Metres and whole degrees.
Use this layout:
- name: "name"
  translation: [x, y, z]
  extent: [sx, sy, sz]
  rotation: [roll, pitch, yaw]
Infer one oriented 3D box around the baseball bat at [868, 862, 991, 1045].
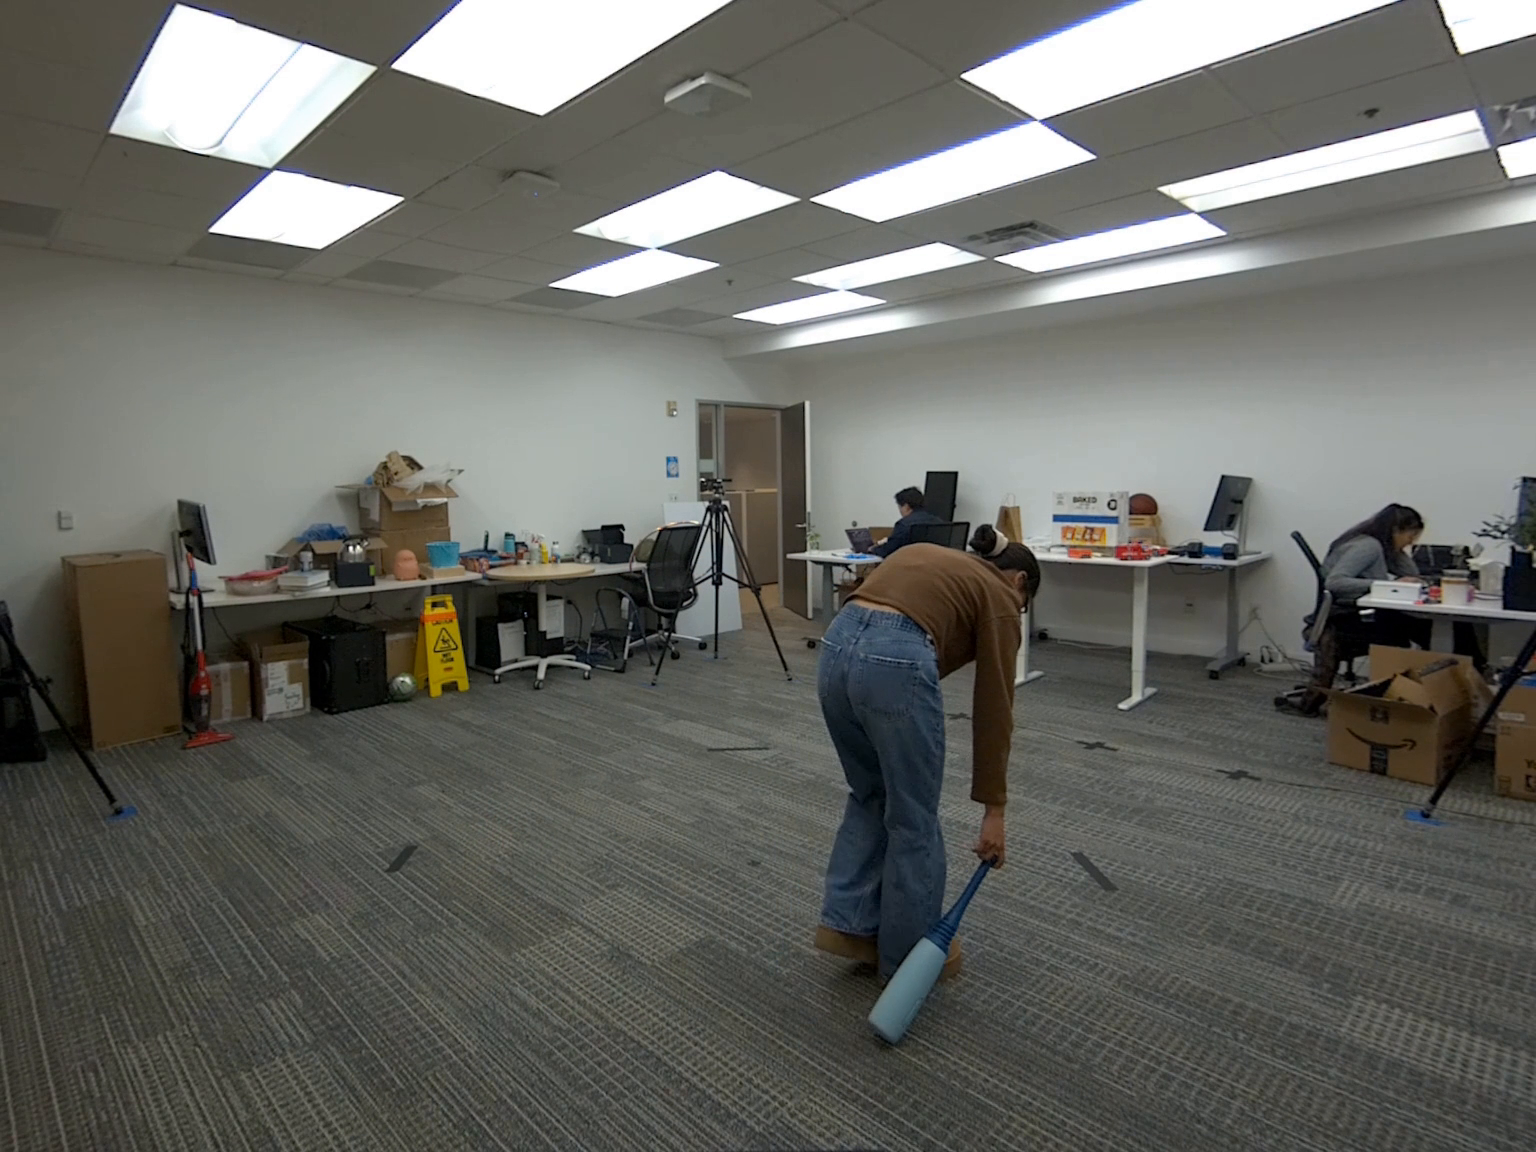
- name: "baseball bat"
  translation: [0.447, 0.946, 2.196]
  extent: [0.543, 0.086, 0.091]
  rotation: [-49, 26, -20]
